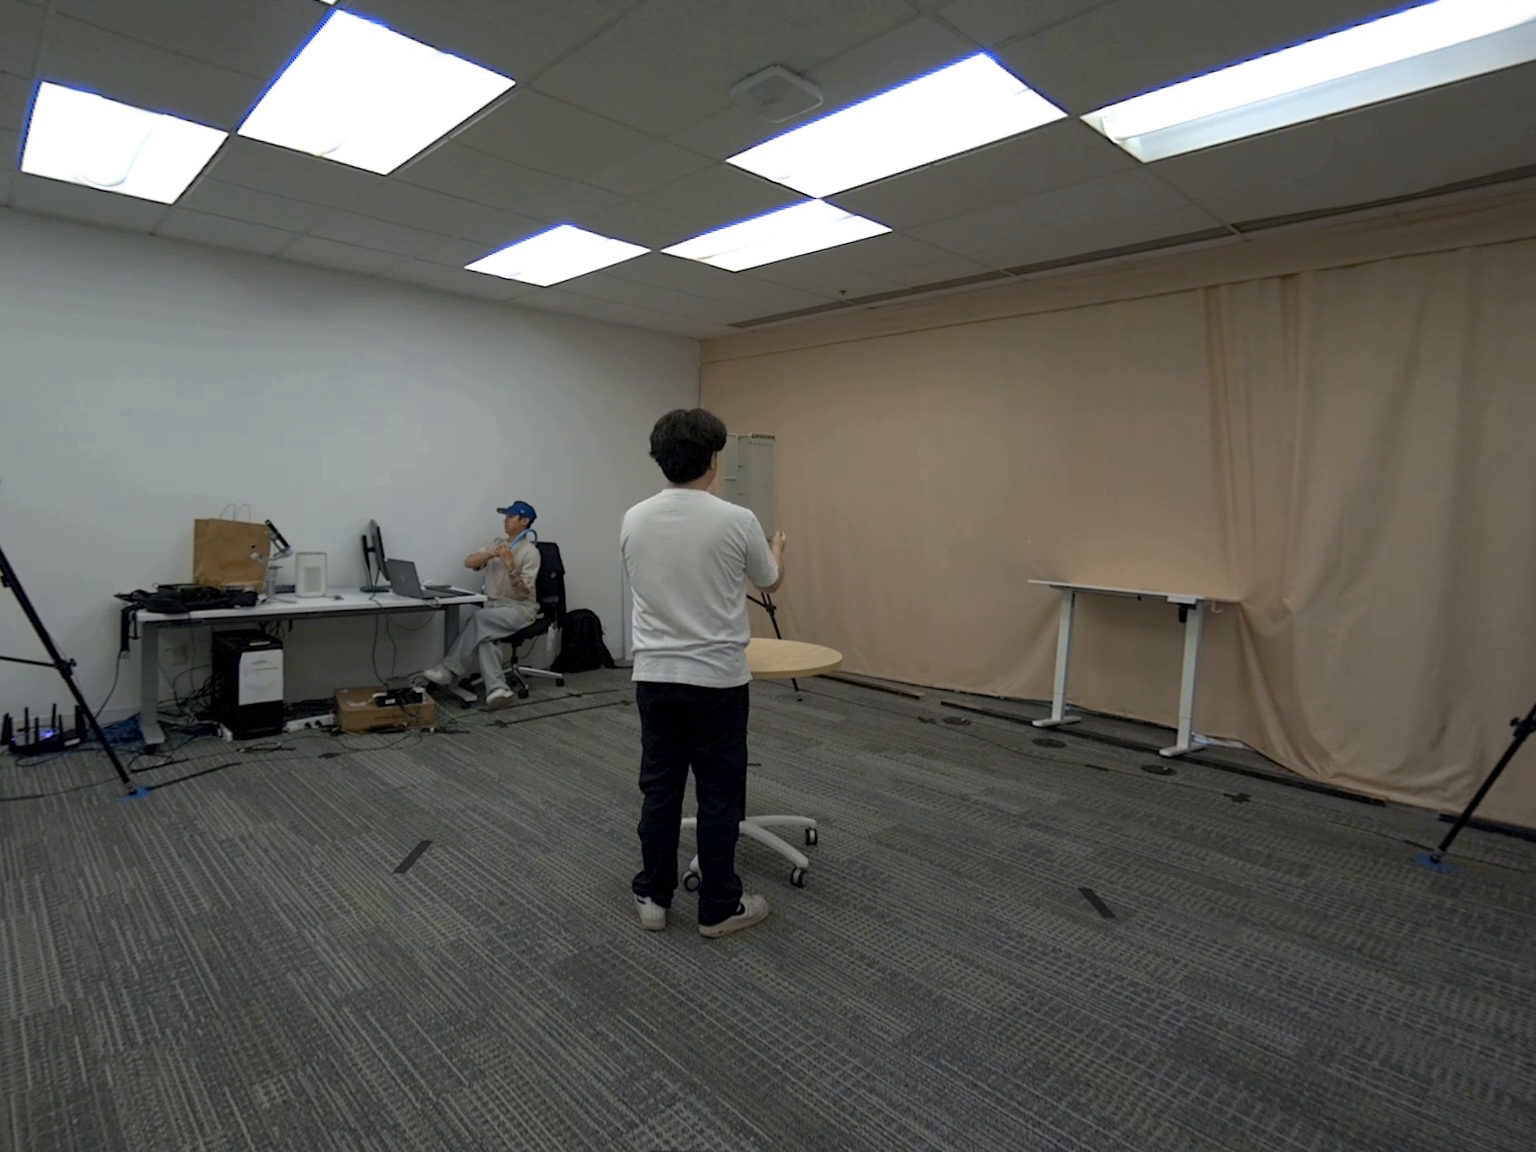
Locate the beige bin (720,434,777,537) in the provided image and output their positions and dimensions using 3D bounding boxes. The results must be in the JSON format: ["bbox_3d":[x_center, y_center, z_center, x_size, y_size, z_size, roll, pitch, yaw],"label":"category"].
[{"bbox_3d":[-0.122,-0.315,3.111,0.192,0.420,0.373,2,6,18],"label":"beige bin"}]
